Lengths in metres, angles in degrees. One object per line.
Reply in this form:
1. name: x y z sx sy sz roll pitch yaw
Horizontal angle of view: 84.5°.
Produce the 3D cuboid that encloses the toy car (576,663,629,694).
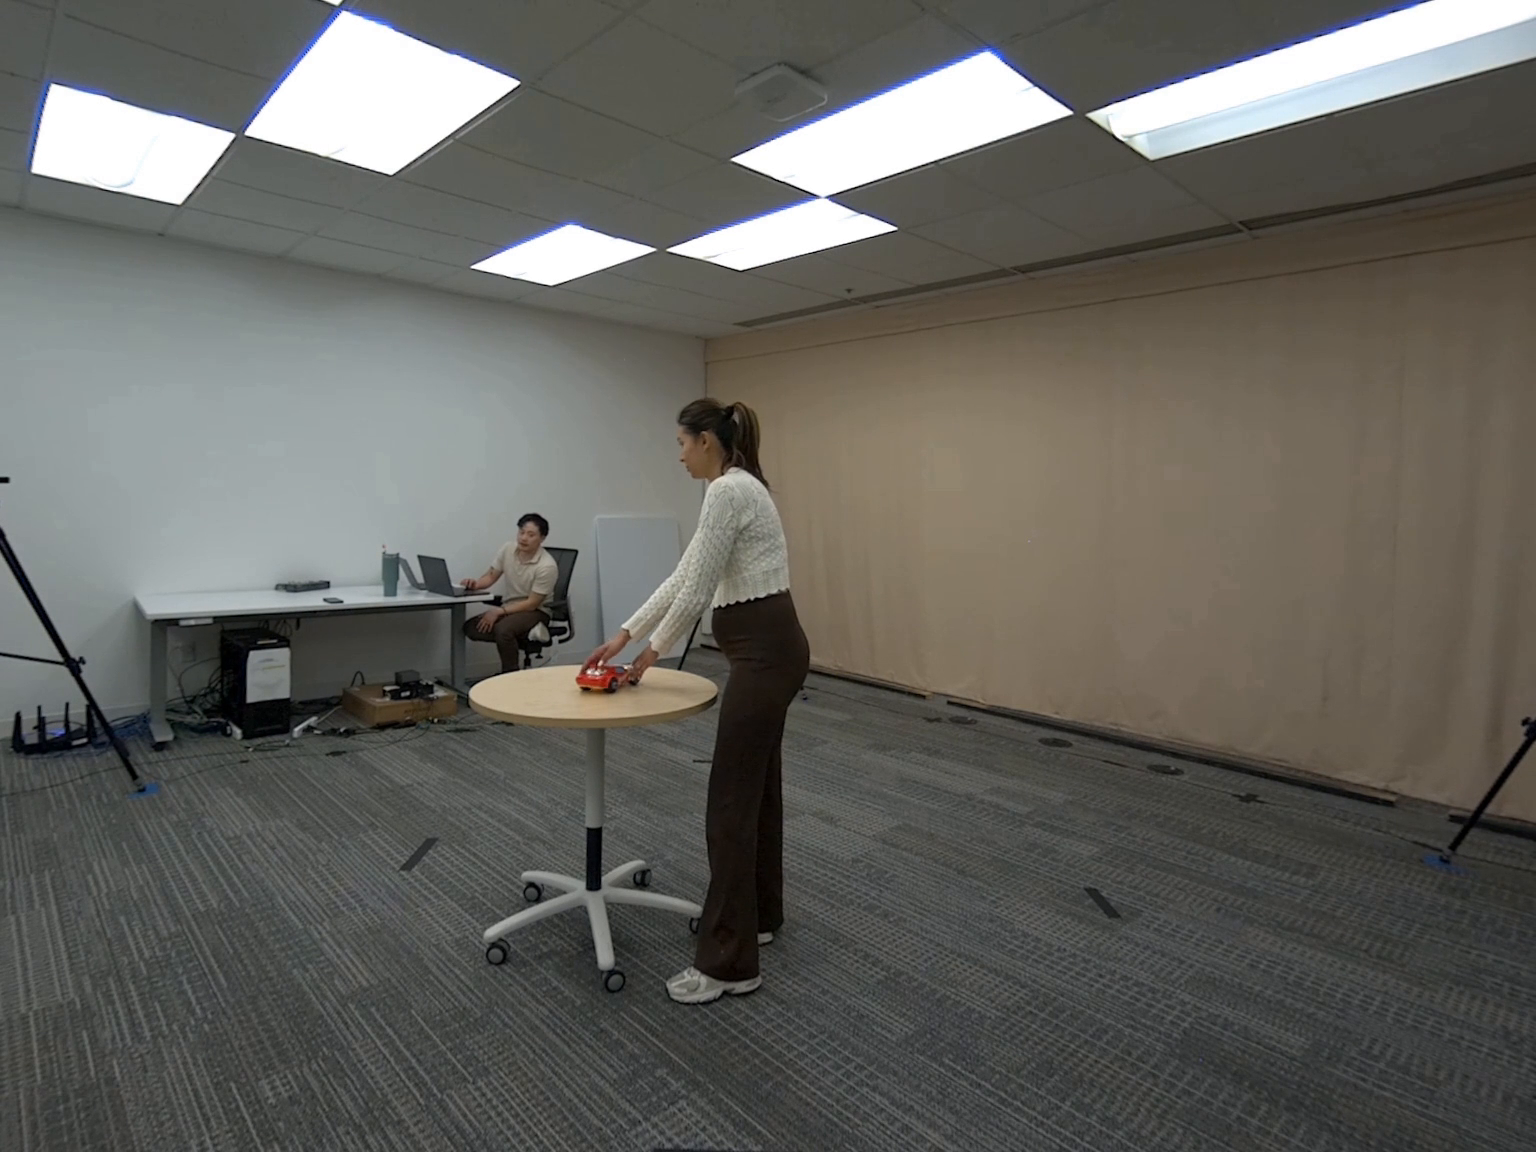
1. toy car: -0.506 0.322 2.635 0.132 0.083 0.249 2 -6 20
